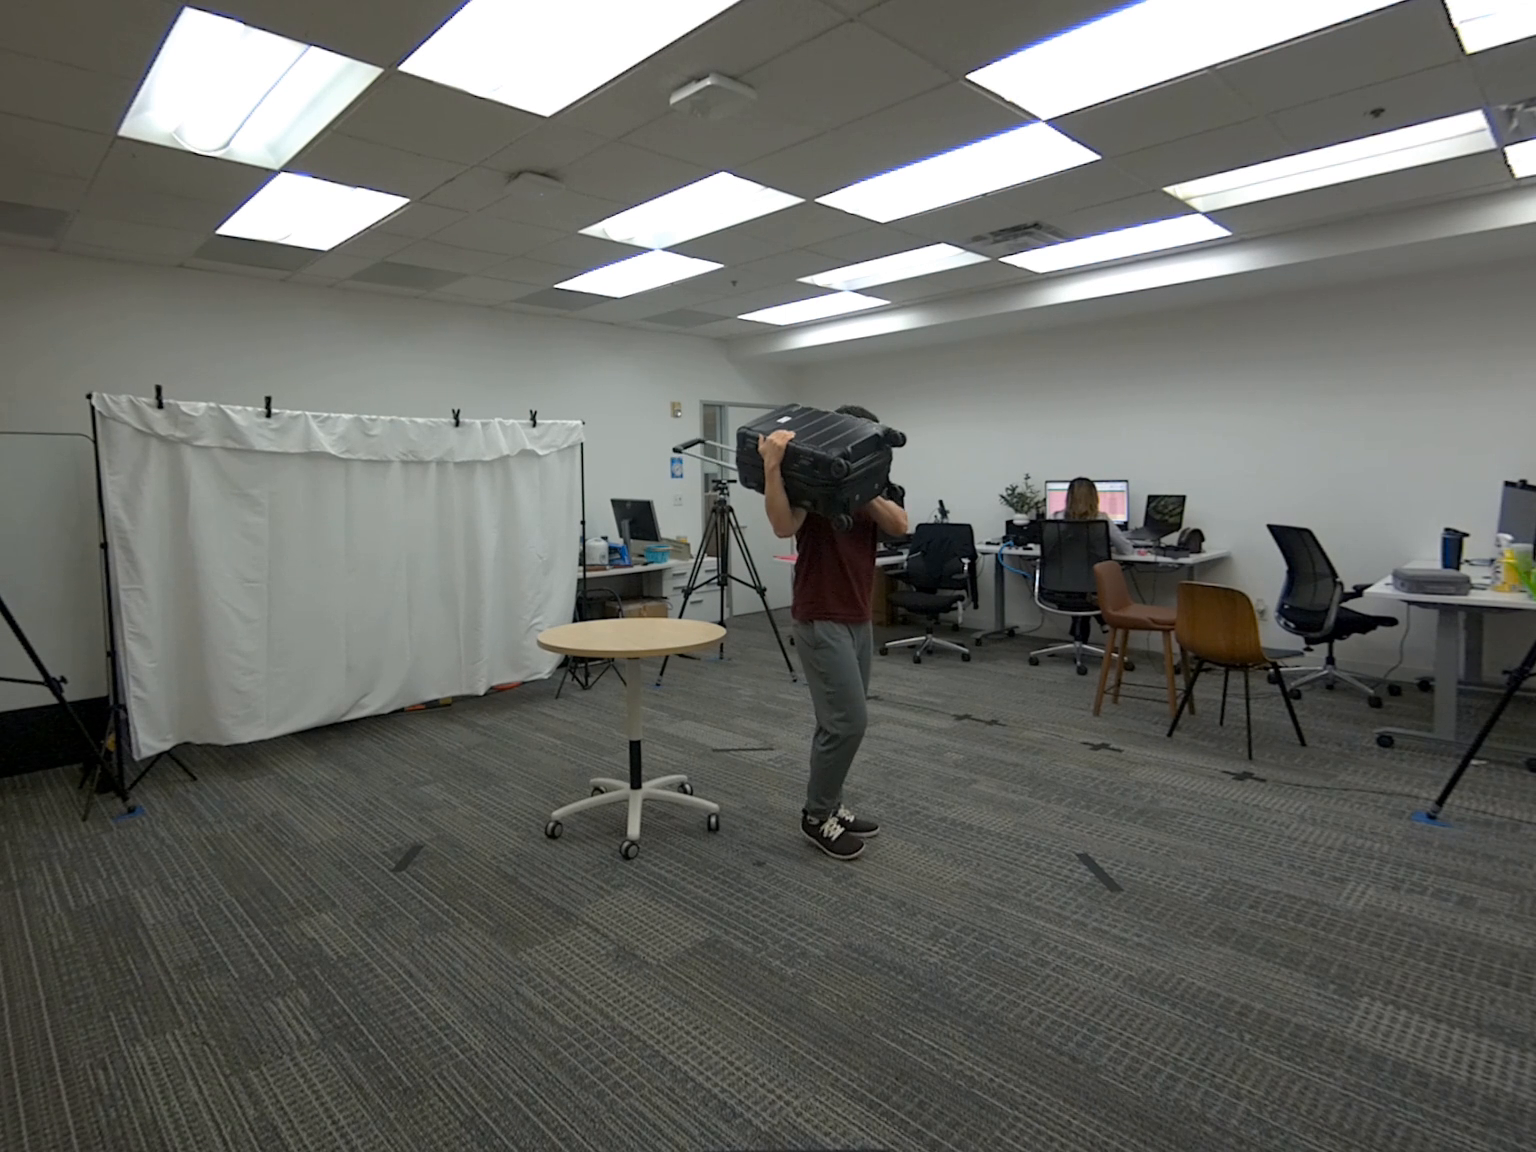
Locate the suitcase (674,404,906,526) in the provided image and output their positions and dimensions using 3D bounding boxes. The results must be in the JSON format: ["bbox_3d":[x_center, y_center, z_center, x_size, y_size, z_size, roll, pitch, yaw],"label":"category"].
[{"bbox_3d":[0.025,-0.488,3.168,0.379,0.250,1.016,-29,38,-35],"label":"suitcase"}]
